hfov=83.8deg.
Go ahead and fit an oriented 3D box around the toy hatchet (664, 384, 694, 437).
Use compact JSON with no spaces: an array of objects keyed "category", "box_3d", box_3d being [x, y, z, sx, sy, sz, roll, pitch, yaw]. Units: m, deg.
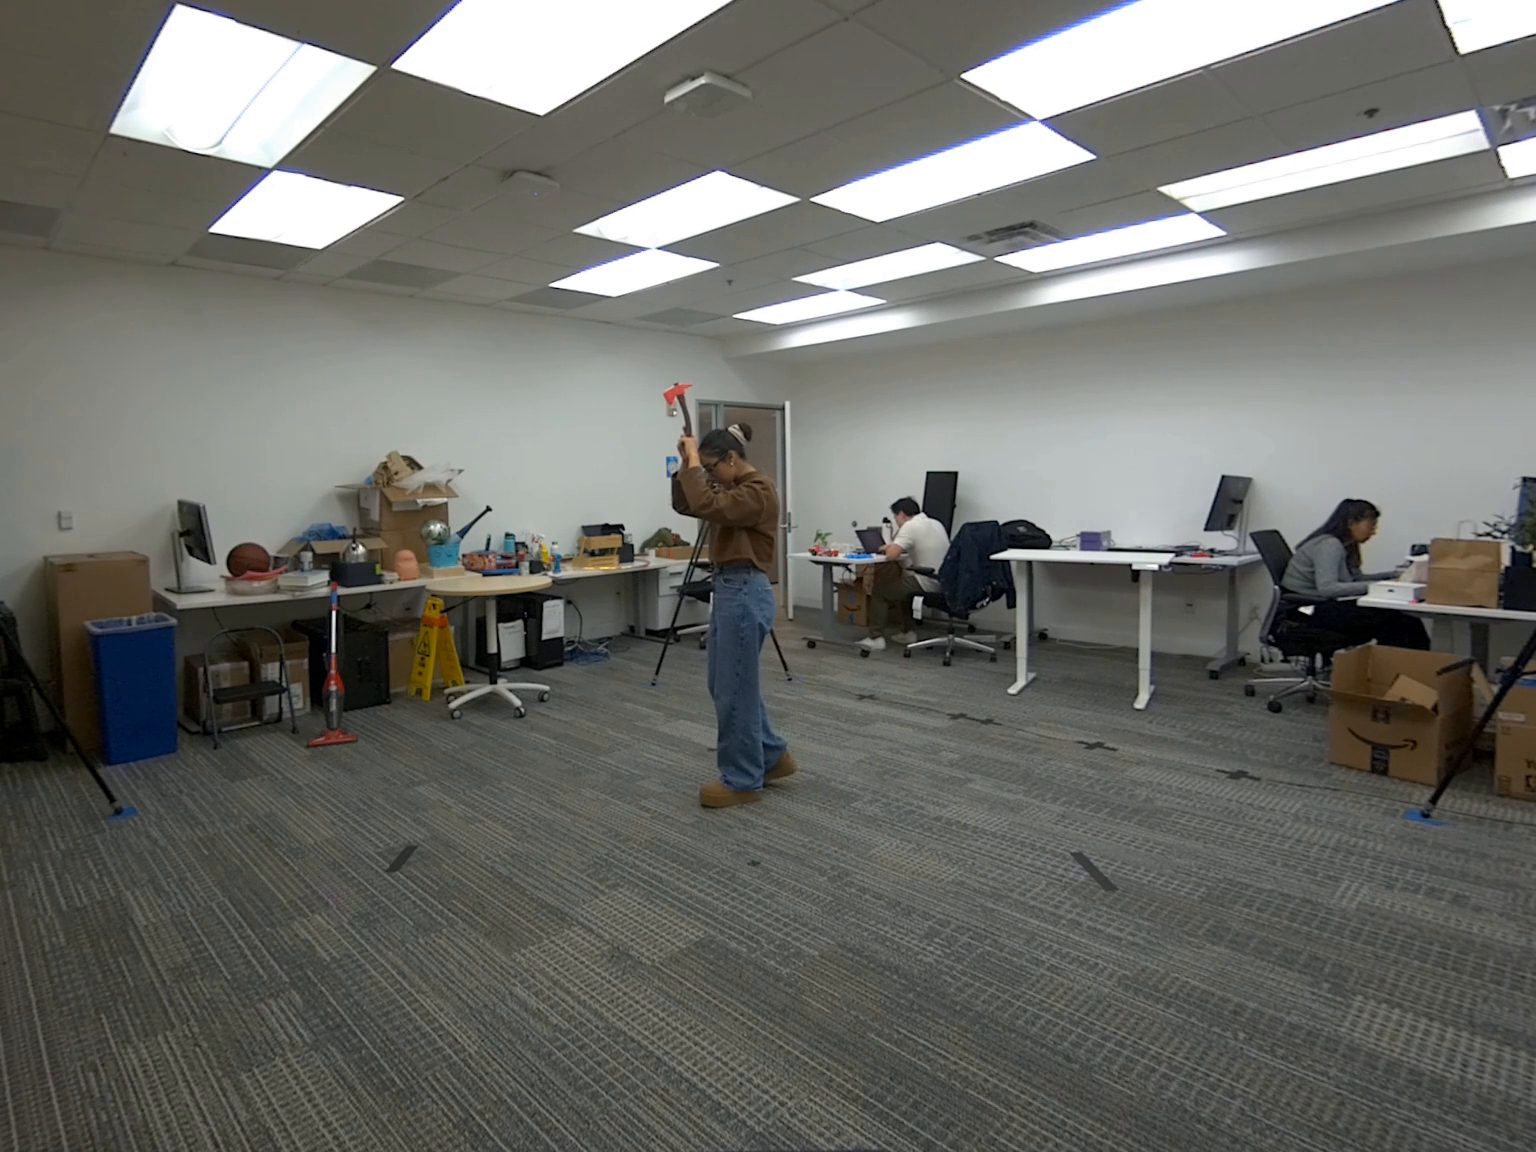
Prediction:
[{"category":"toy hatchet","box_3d":[-0.378,-0.685,3.618,0.128,0.268,0.030,-2,7,-22]}]
